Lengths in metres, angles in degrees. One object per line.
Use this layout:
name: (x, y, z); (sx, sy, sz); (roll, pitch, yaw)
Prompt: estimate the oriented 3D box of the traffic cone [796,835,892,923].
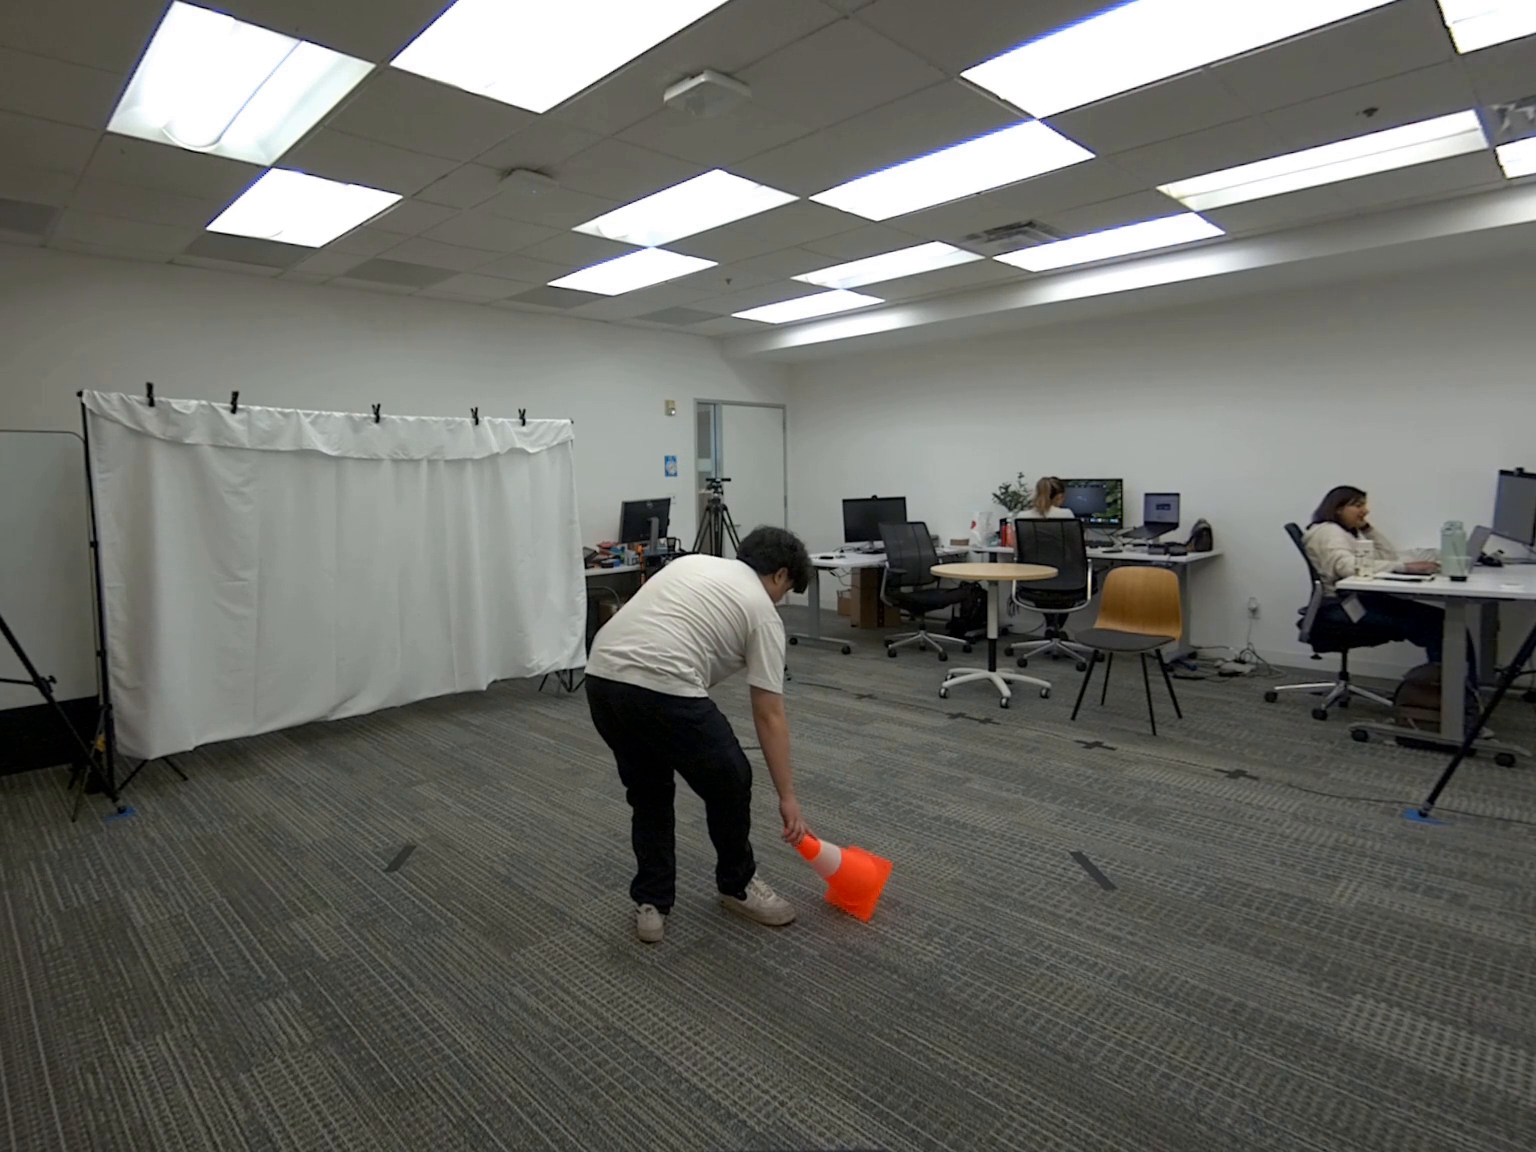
traffic cone: (0.184, 0.890, 2.694); (0.371, 0.204, 0.210); (44, -27, -28)
